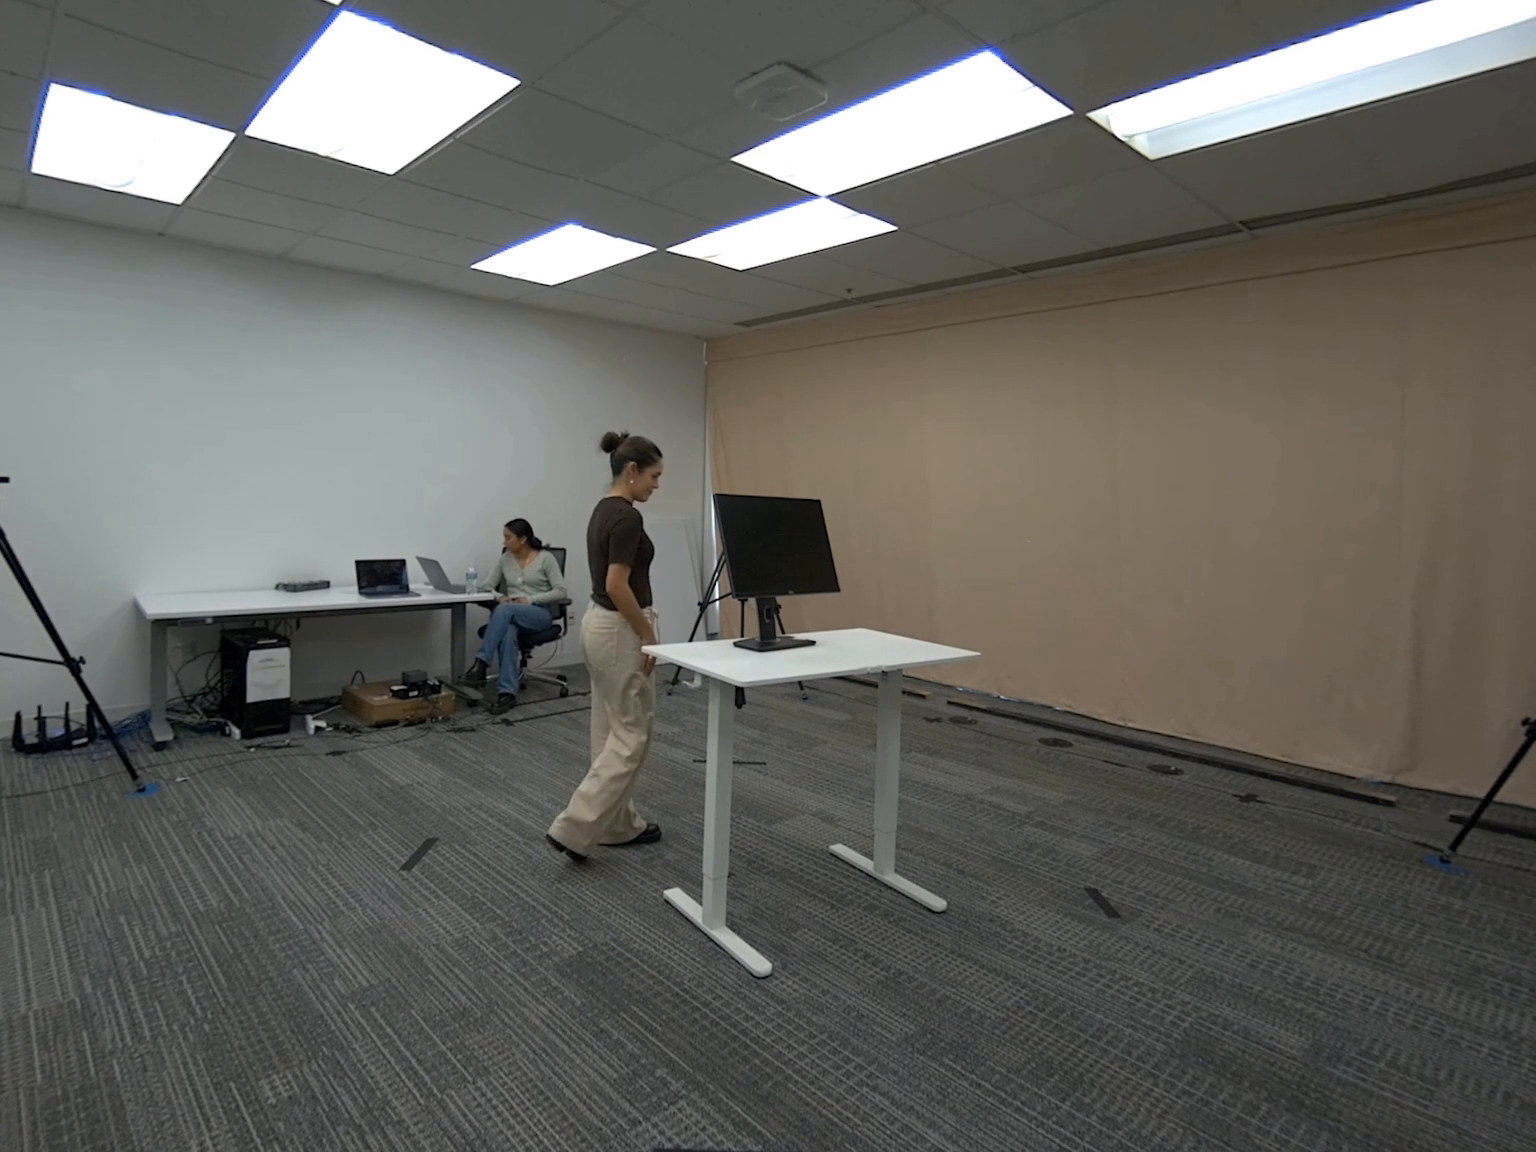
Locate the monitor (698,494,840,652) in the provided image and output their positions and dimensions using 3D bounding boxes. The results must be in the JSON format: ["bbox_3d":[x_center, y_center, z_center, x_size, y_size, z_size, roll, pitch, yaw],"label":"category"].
[{"bbox_3d":[0.013,-0.011,2.912,0.191,0.522,0.526,0,1,41],"label":"monitor"}]
